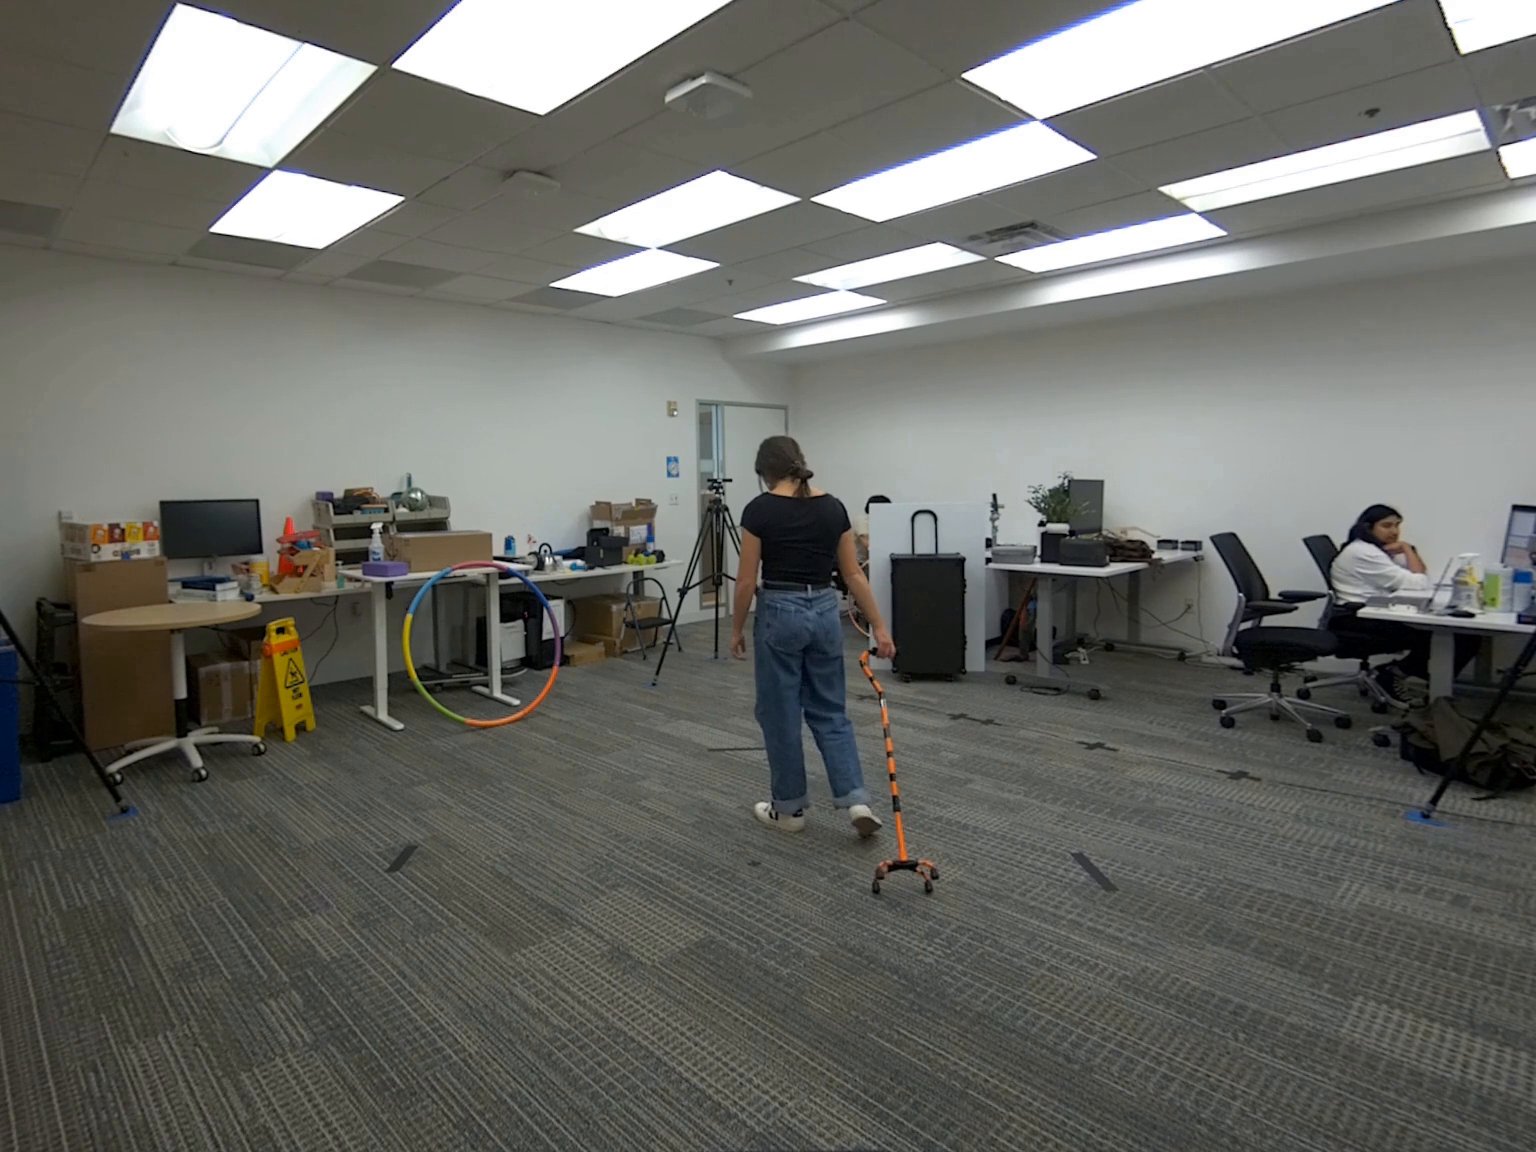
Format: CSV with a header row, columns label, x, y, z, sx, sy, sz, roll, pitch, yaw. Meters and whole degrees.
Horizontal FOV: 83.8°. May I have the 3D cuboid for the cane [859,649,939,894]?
label,x,y,z,sx,sy,sz,roll,pitch,yaw
cane,0.447,0.663,3.106,0.207,0.932,0.147,-1,-39,1
